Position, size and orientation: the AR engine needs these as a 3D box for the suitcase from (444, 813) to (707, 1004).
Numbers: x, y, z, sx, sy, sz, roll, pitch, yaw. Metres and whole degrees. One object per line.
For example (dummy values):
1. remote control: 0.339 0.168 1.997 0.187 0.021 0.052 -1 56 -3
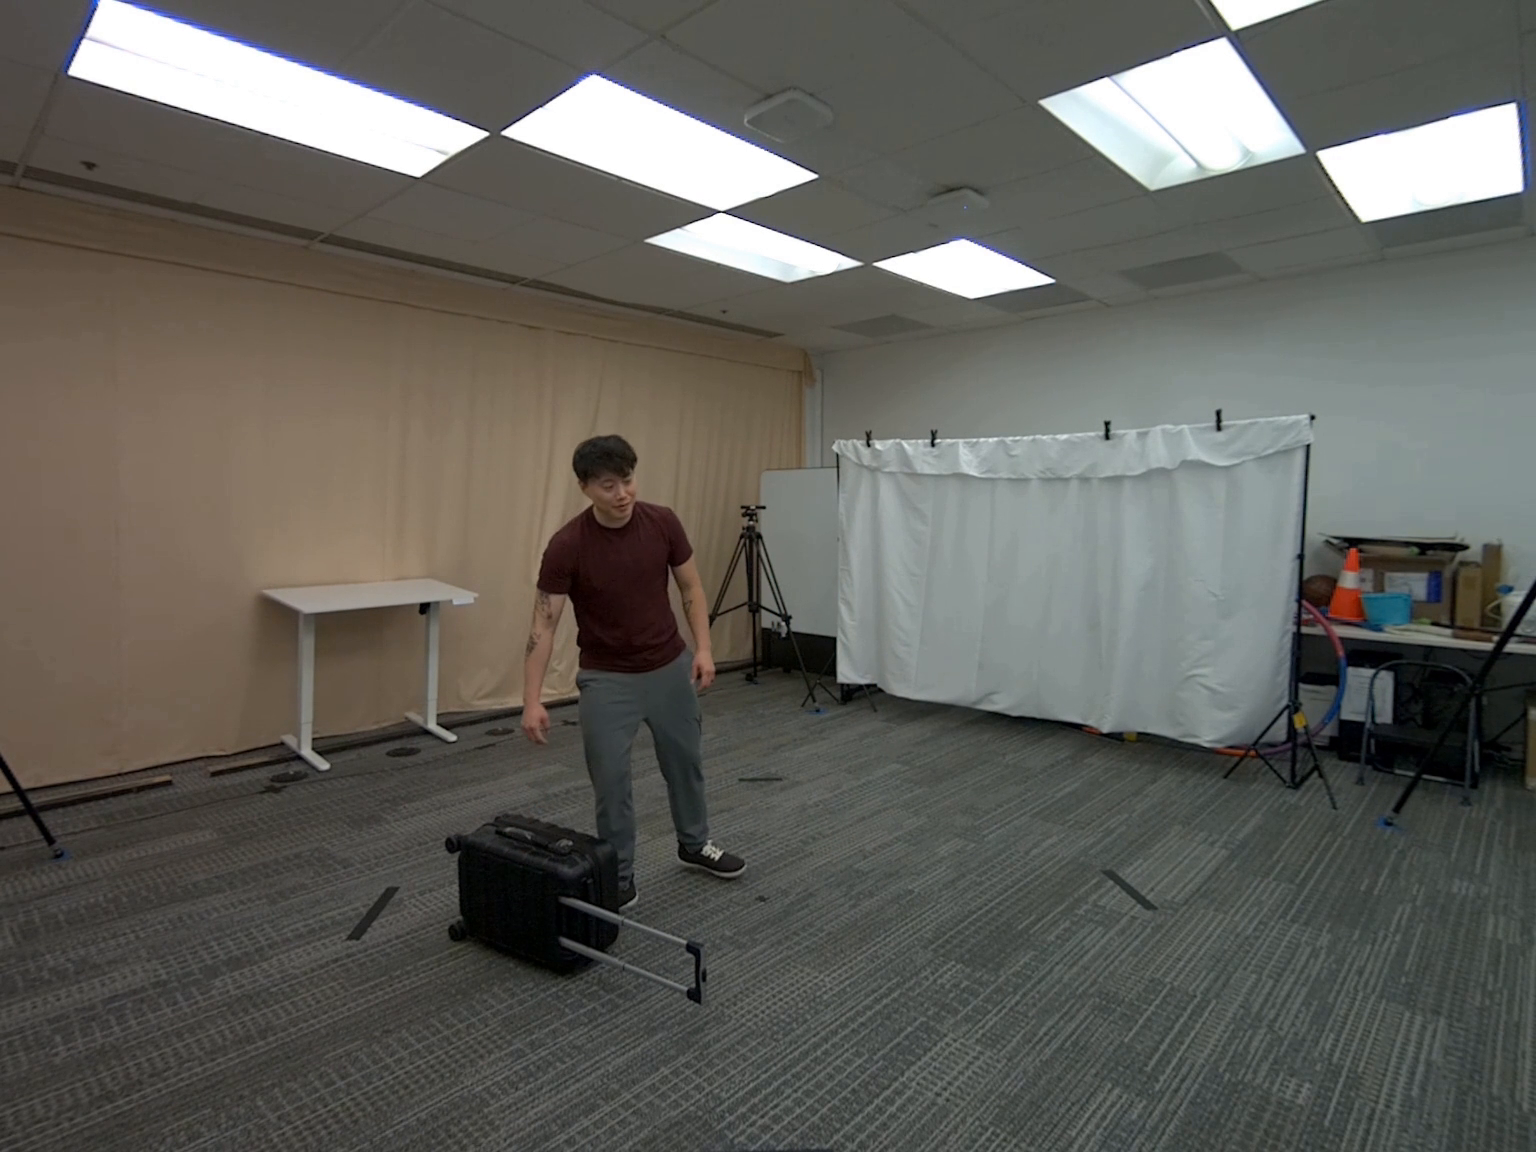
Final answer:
1. suitcase: -0.553 0.997 2.549 1.007 0.383 0.250 3 6 30
